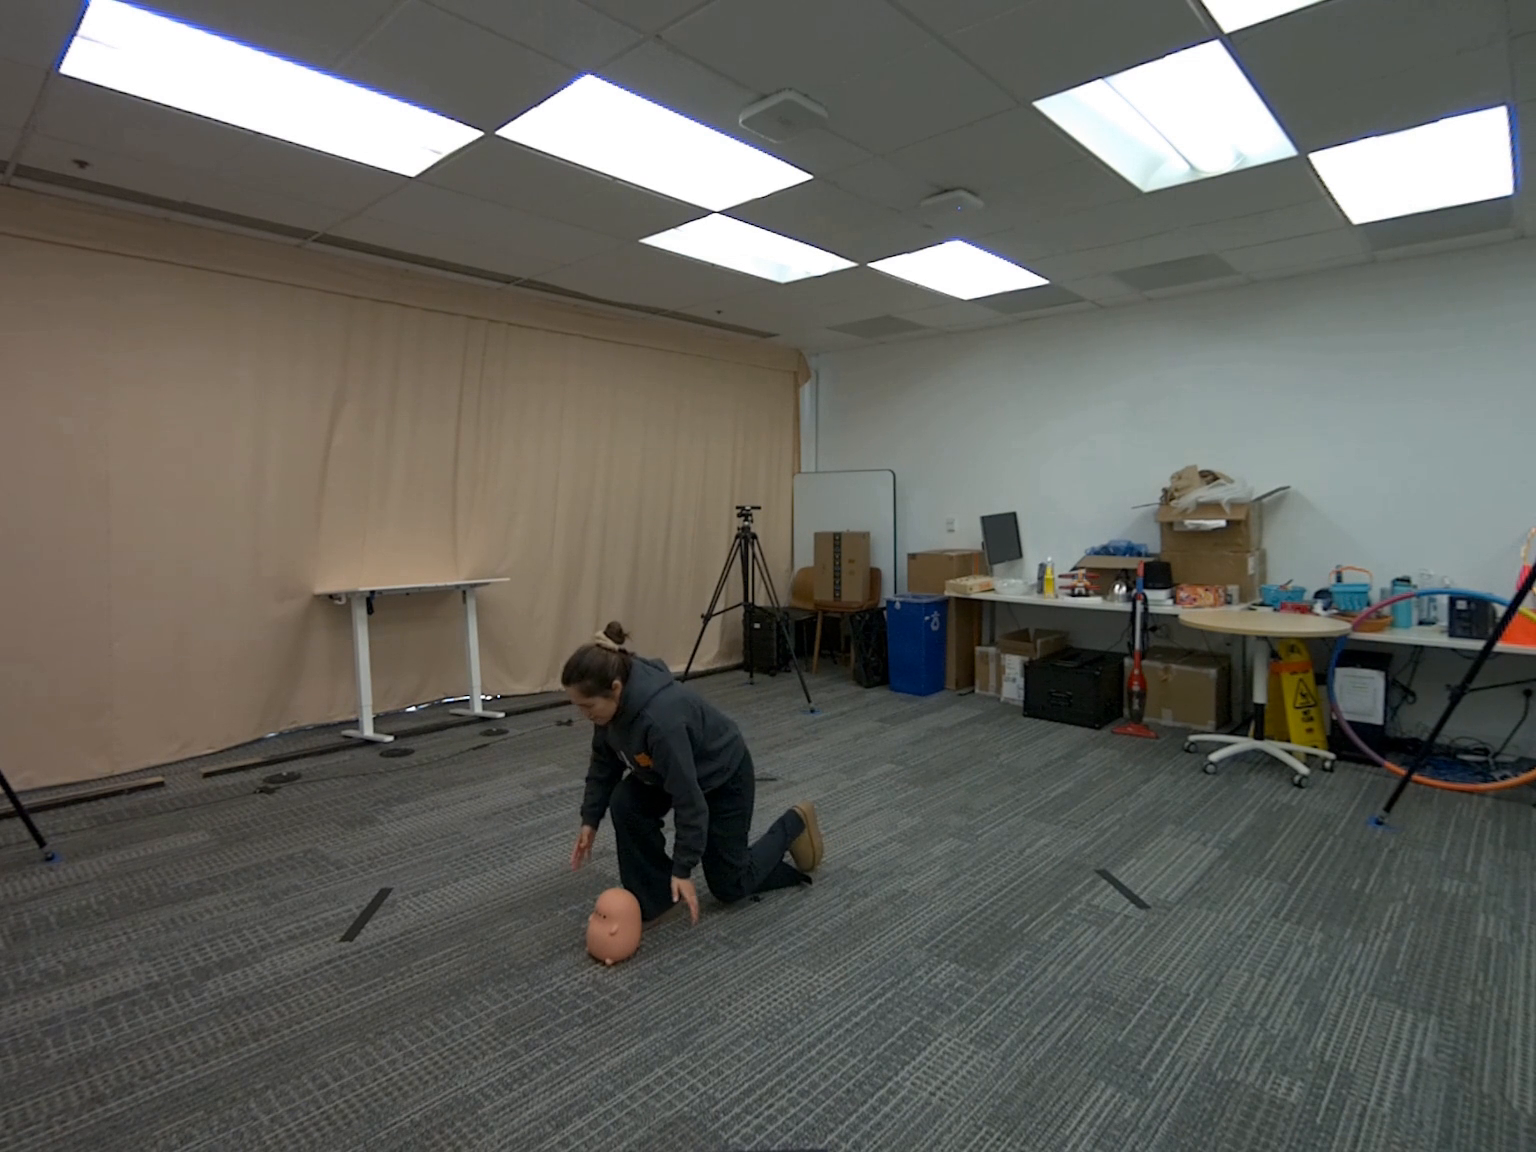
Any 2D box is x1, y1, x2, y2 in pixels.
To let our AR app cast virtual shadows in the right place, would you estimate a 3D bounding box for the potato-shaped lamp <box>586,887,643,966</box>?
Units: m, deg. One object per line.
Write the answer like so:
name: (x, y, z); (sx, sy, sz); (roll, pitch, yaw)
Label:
potato-shaped lamp: (-0.455, 1.076, 2.627); (0.166, 0.198, 0.170); (-3, 3, -44)
